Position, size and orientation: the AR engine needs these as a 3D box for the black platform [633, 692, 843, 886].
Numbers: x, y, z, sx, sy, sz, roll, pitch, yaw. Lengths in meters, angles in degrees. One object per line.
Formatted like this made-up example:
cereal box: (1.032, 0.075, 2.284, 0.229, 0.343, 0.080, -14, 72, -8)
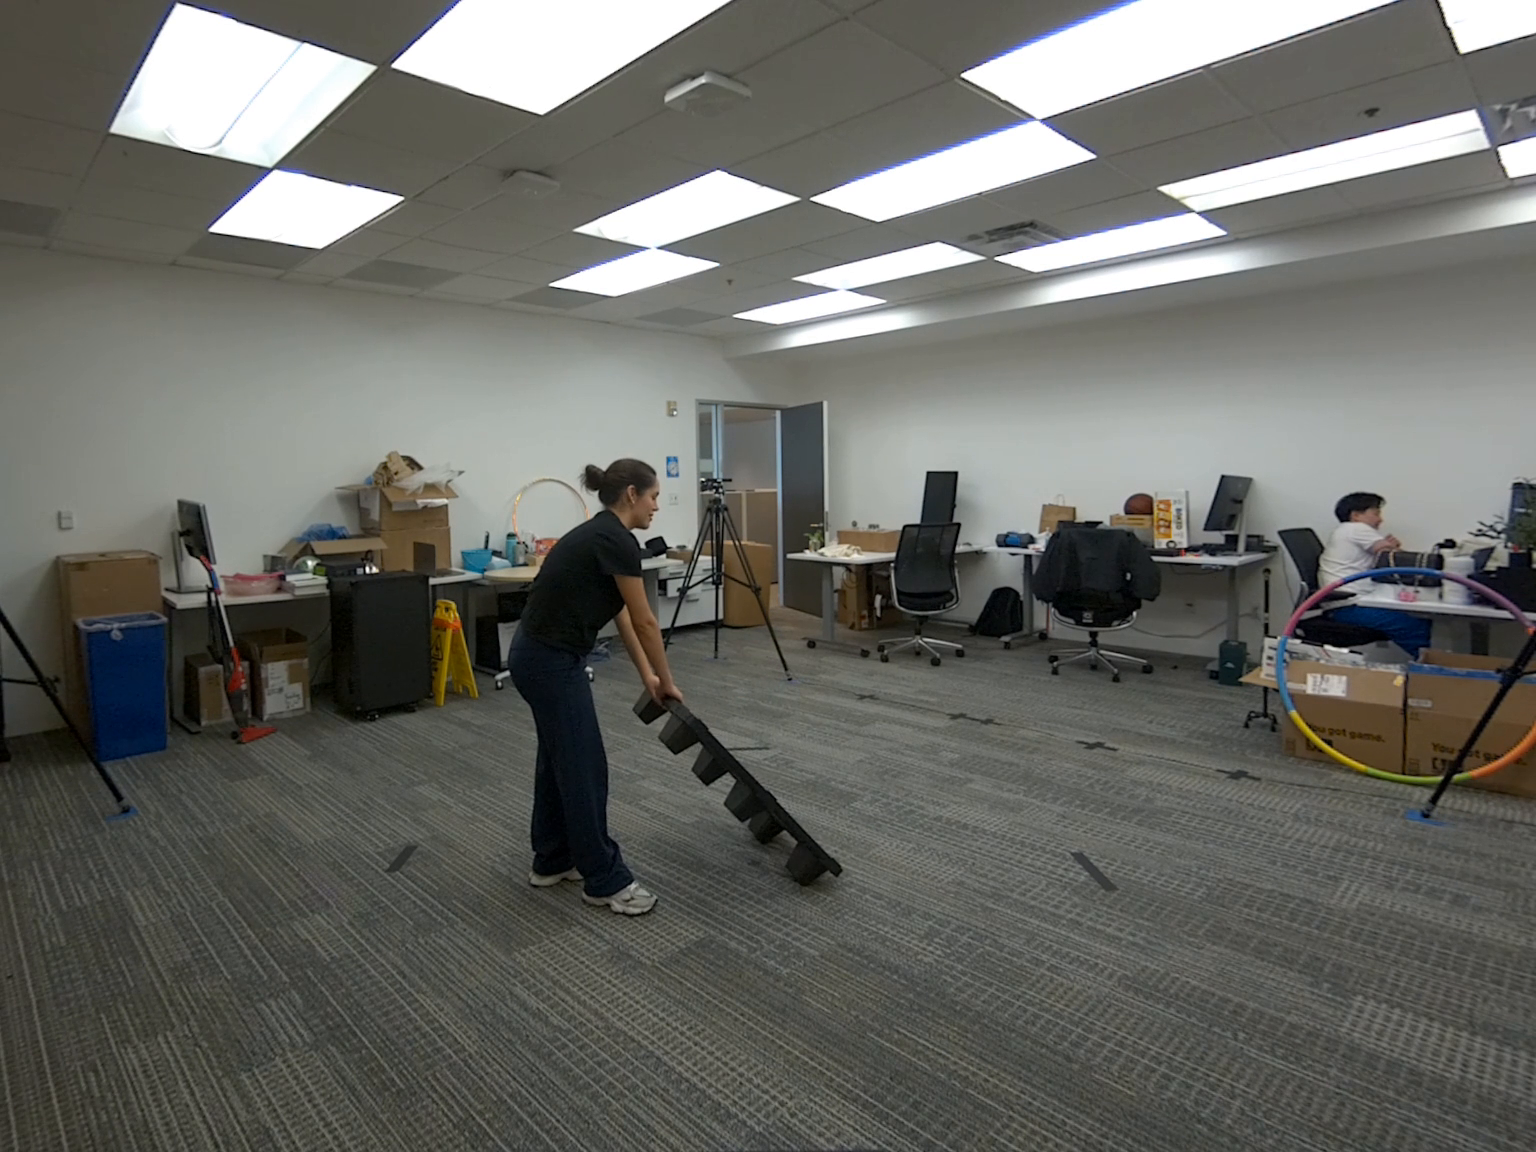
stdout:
black platform: (-0.142, 0.735, 3.072, 0.143, 0.789, 0.618, -44, 17, -12)
